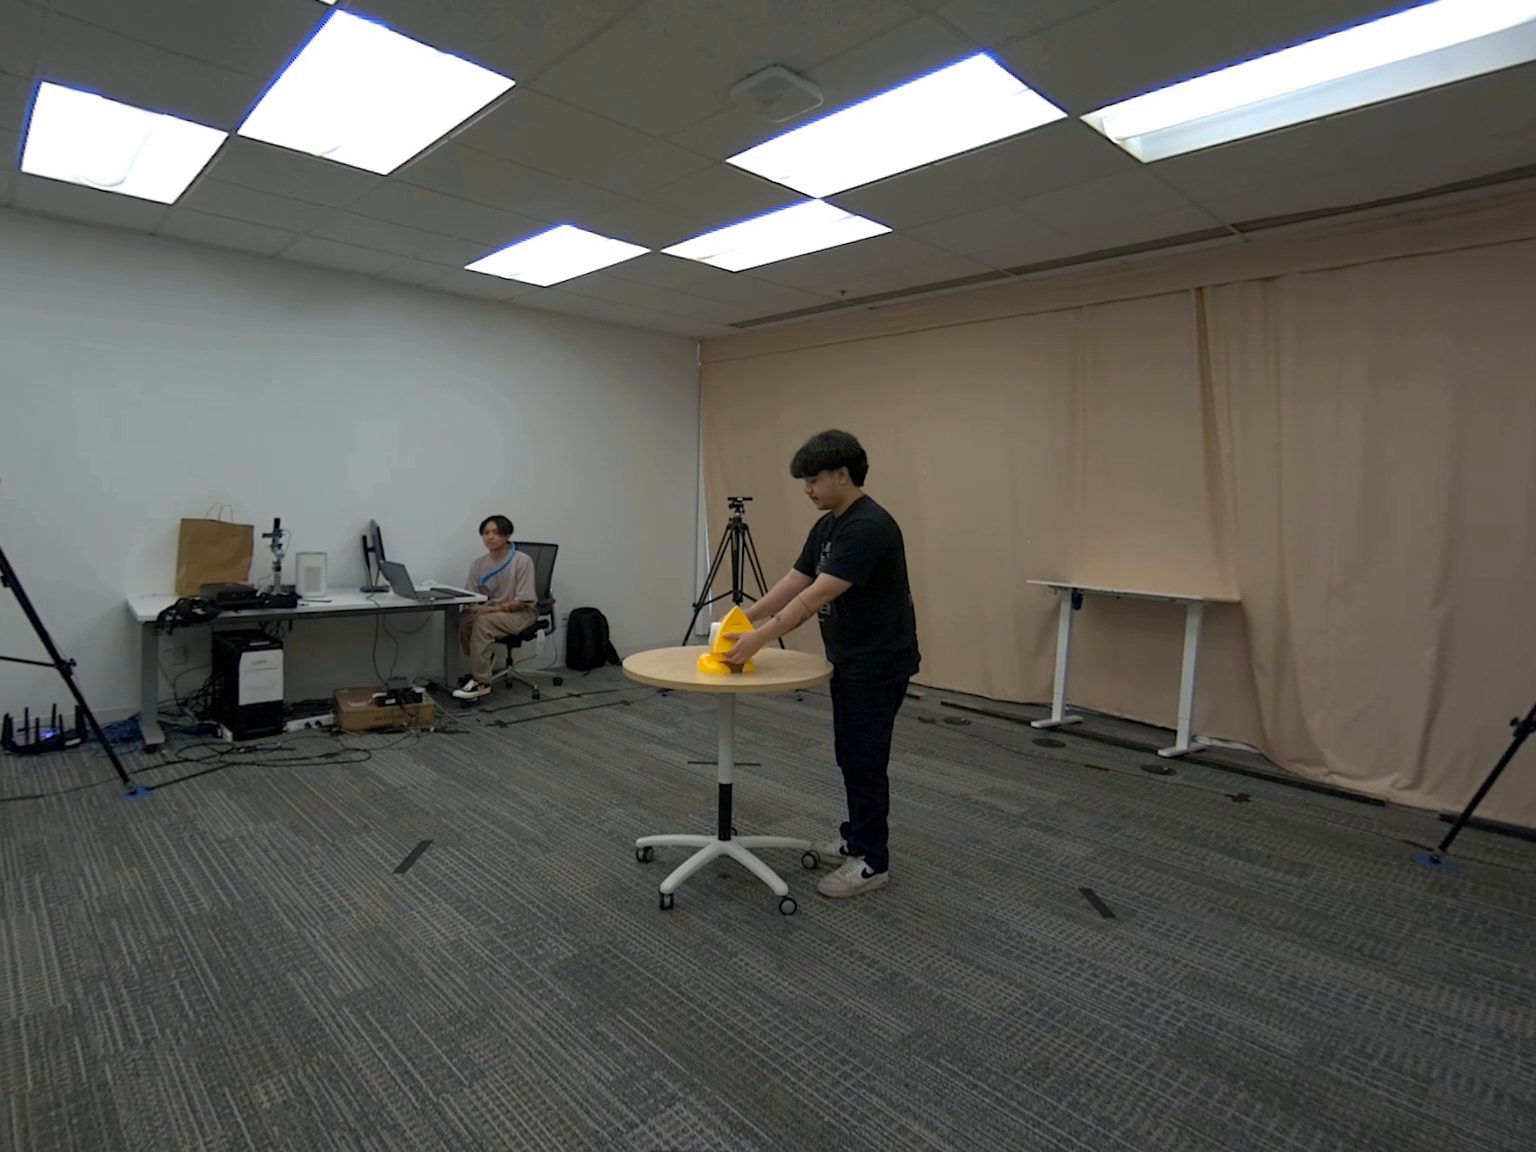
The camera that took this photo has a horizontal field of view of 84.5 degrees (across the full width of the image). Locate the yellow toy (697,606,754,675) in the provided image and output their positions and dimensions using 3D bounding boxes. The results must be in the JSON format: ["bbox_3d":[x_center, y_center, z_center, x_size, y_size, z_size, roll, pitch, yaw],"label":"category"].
[{"bbox_3d":[-0.152,0.216,2.940,0.200,0.230,0.197,-1,3,-31],"label":"yellow toy"}]
